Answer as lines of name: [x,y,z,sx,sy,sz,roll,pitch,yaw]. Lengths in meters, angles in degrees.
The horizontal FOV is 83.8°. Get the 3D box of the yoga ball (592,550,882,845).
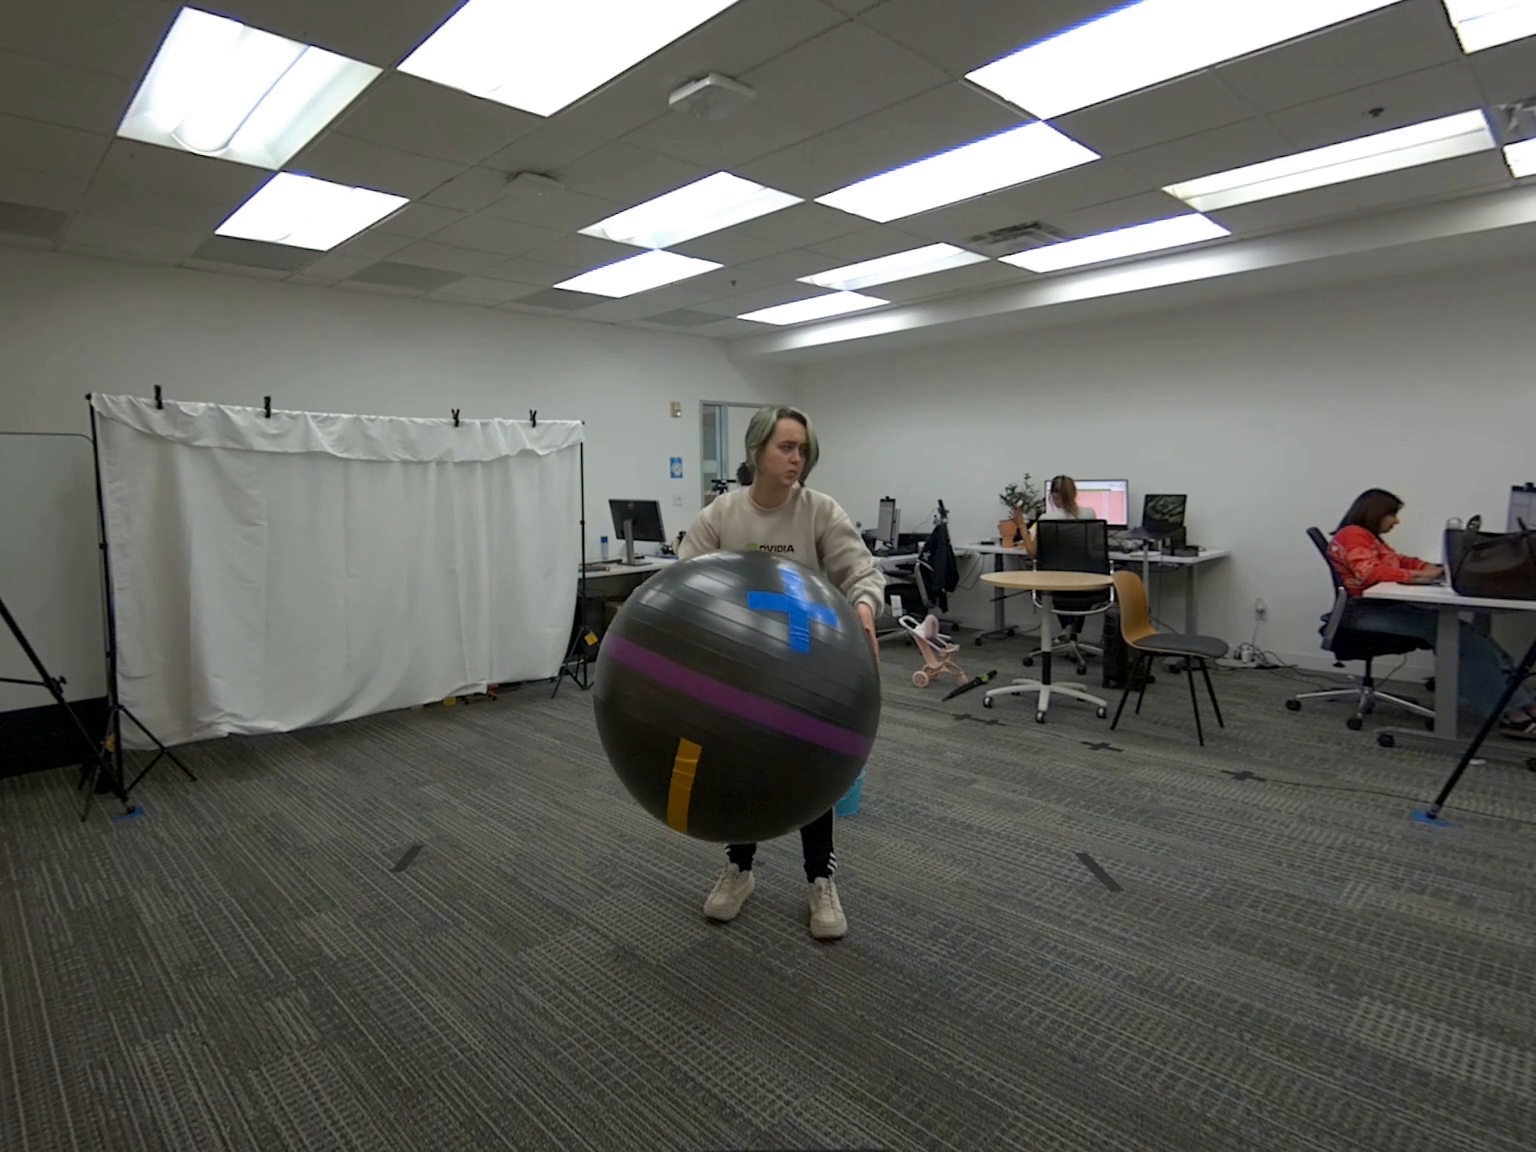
yoga ball: [-0.081,0.314,2.261,0.757,0.755,0.762,-1,5,-2]
